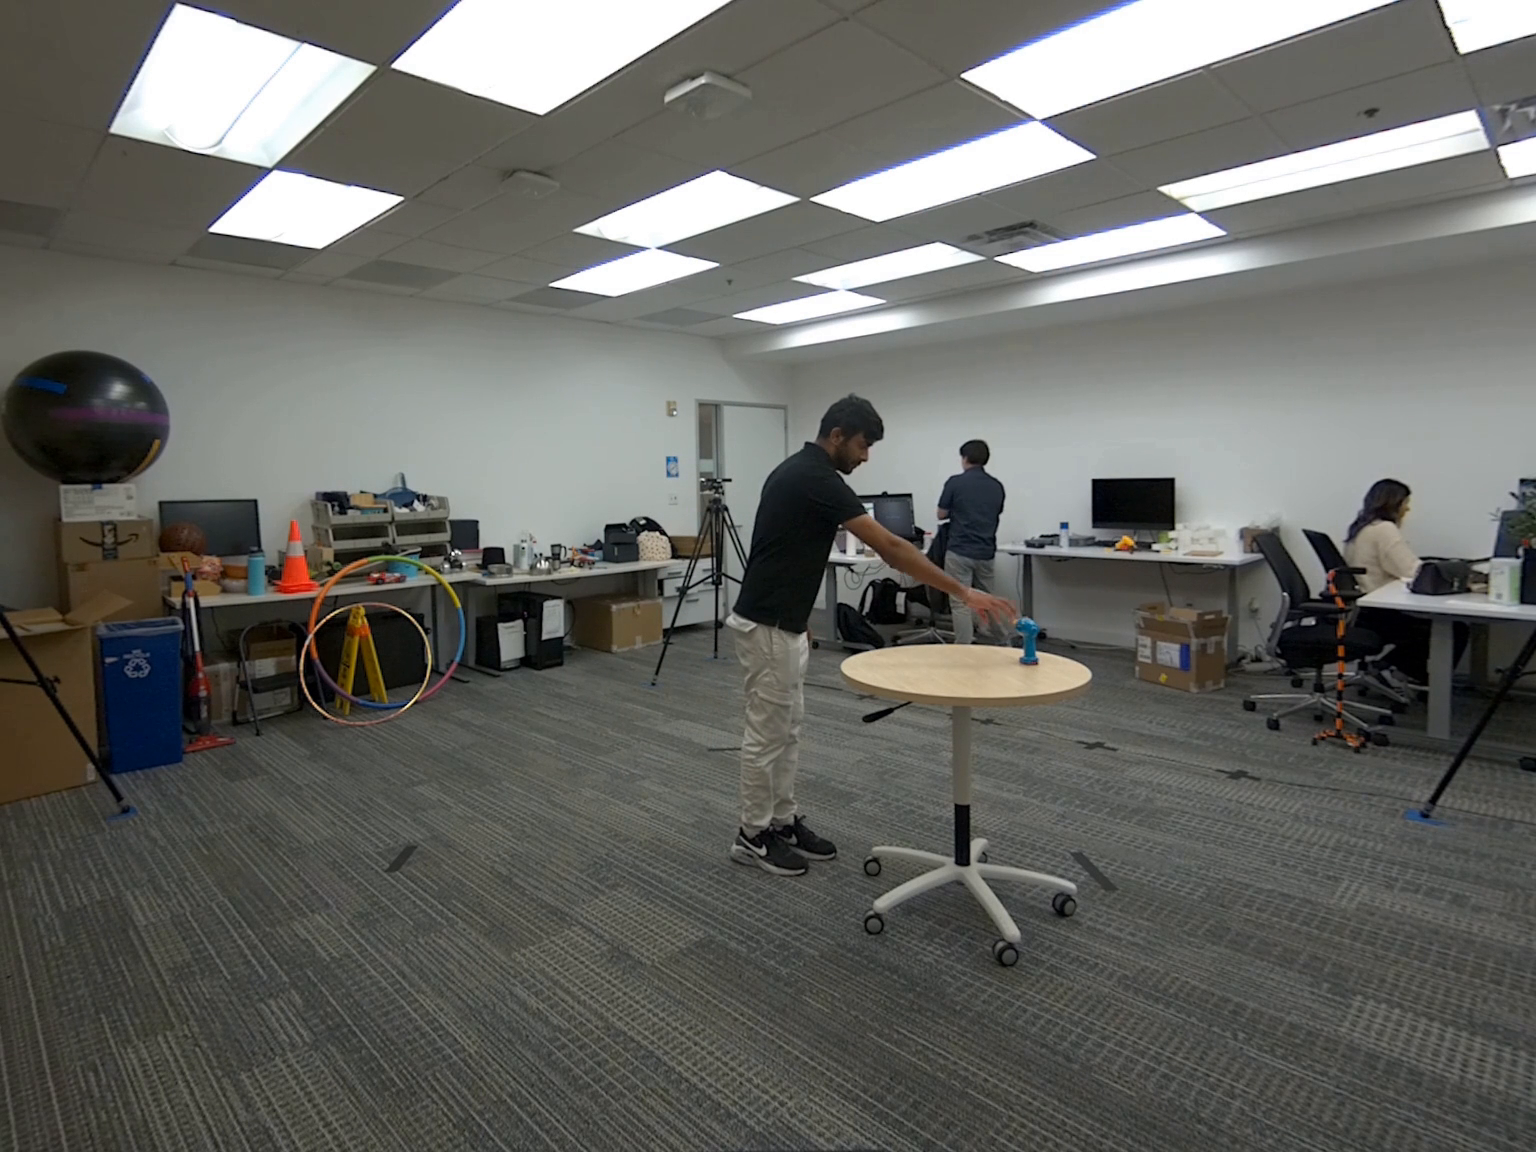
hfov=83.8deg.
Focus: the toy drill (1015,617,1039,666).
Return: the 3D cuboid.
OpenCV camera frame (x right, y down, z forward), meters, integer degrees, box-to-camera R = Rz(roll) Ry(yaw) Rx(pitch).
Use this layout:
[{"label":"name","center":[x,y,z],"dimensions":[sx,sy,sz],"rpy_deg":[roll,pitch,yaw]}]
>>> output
[{"label":"toy drill","center":[0.847,0.206,2.796],"dimensions":[0.061,0.145,0.171],"rpy_deg":[0,5,-6]}]
